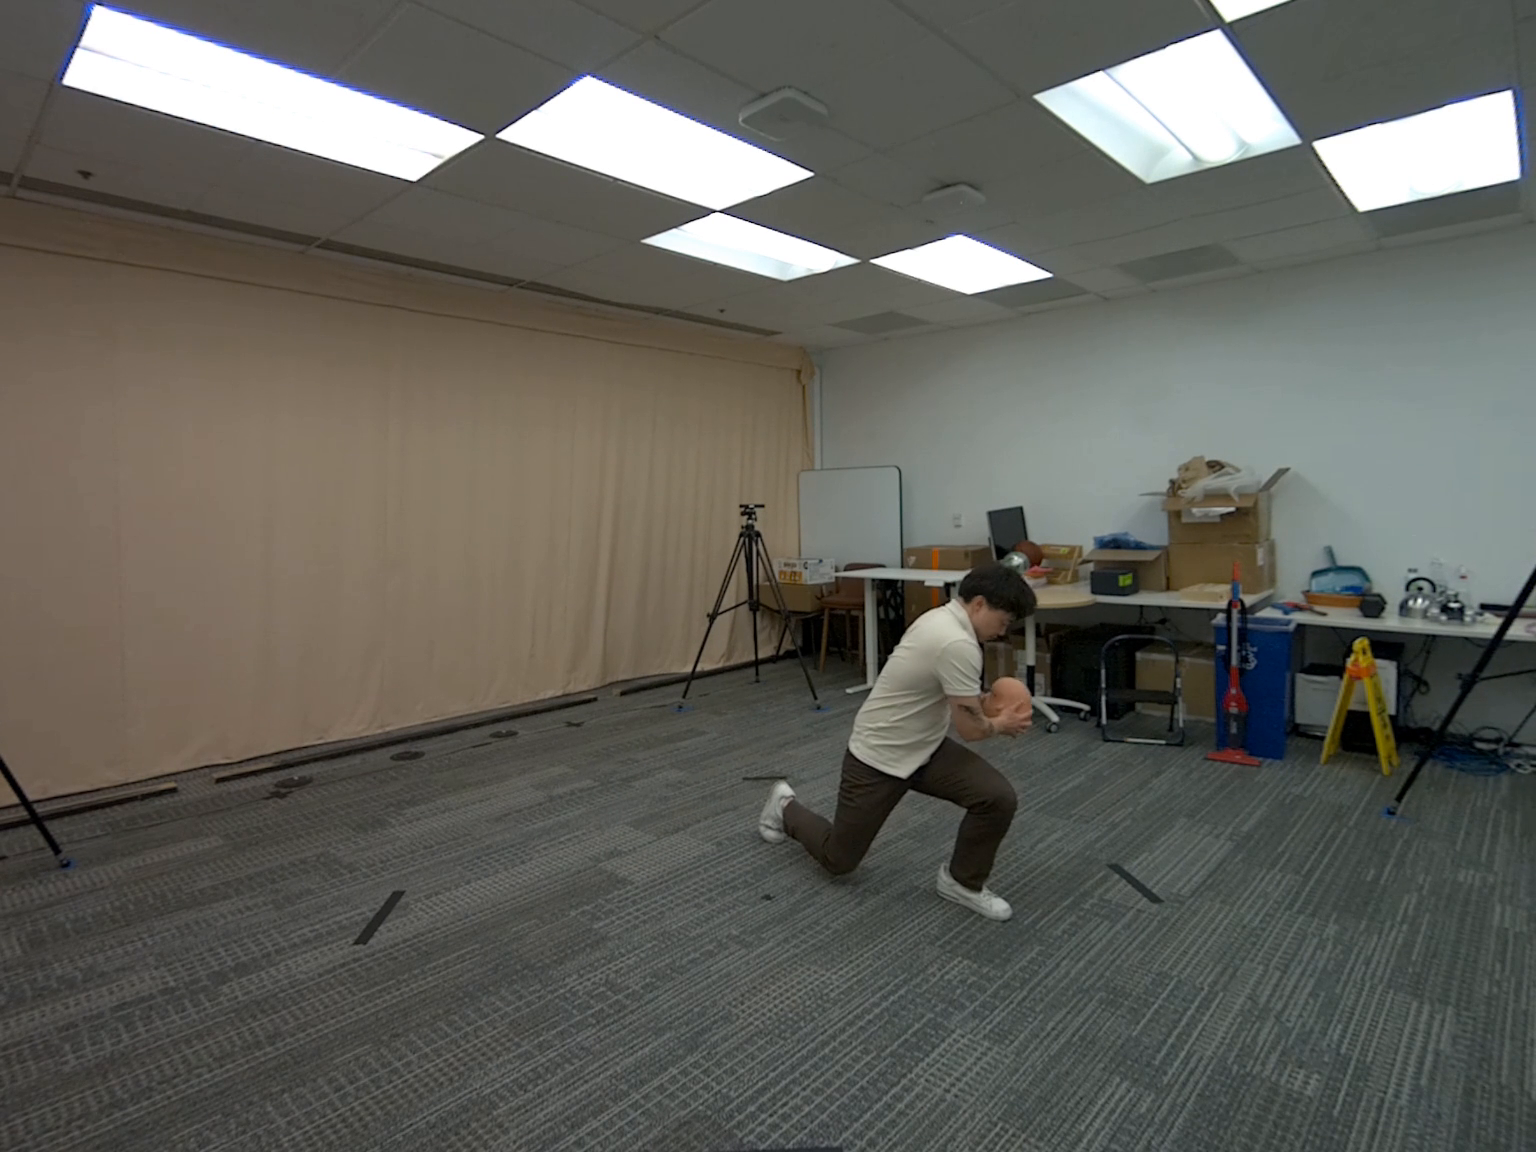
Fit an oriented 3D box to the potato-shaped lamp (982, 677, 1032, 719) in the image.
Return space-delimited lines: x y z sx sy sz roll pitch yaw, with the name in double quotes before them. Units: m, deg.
"potato-shaped lamp" 0.874 0.469 3.052 0.170 0.197 0.167 0 11 -8
